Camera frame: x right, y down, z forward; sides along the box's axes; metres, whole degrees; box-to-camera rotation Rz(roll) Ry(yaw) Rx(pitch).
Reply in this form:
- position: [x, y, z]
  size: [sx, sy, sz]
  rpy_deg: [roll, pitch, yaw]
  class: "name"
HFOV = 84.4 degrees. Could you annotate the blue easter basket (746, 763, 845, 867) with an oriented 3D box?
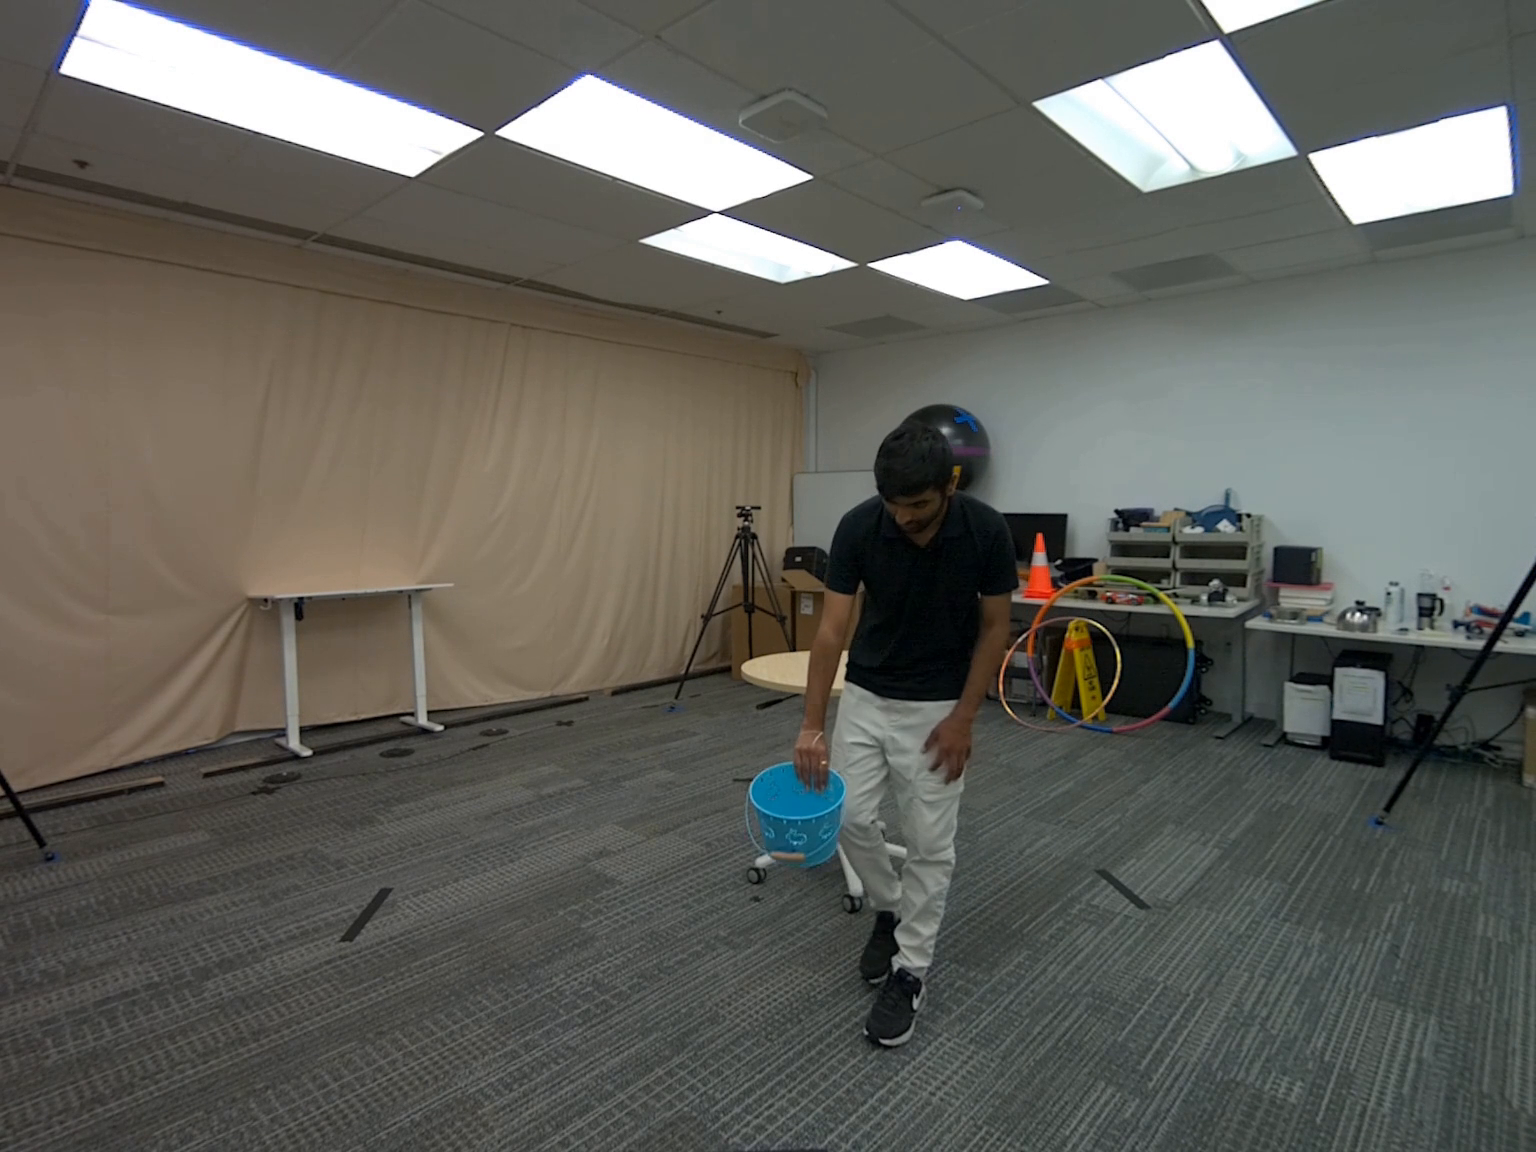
- position: [0.076, 0.579, 2.021]
  size: [0.244, 0.154, 0.246]
  rpy_deg: [-4, 18, -1]
  class: "blue easter basket"
